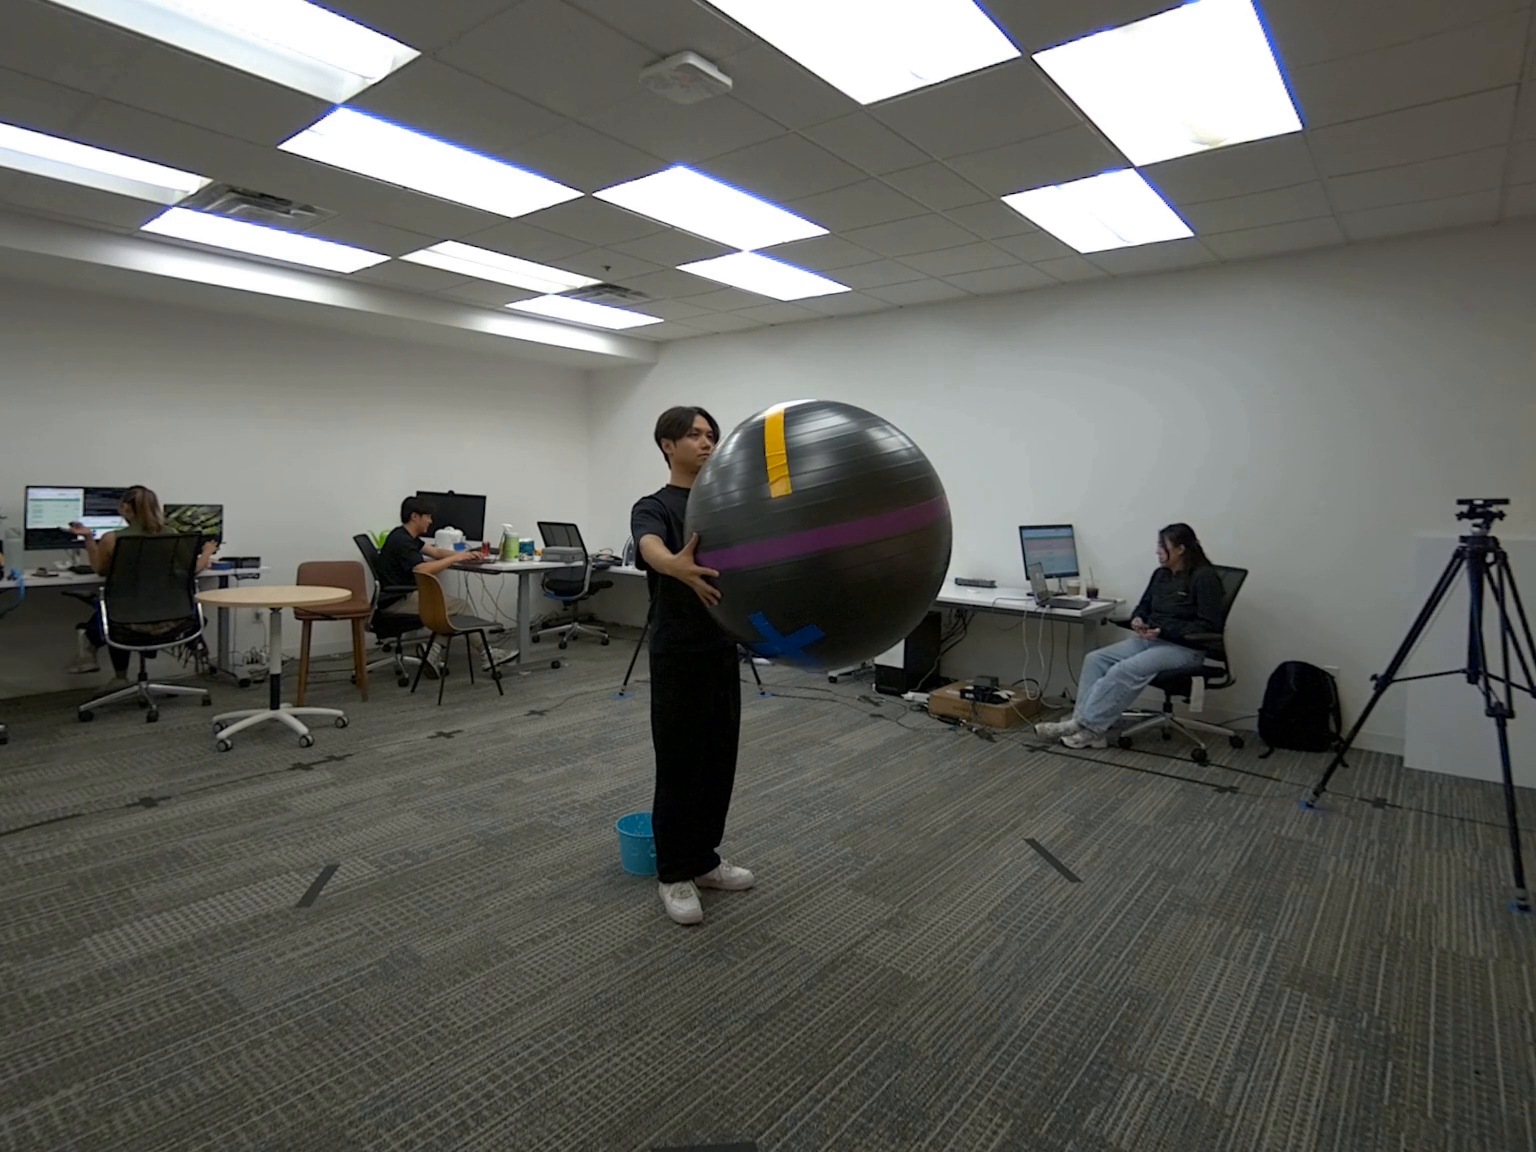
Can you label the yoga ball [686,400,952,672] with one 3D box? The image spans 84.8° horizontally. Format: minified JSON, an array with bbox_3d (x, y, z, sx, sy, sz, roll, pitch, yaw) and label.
[{"bbox_3d":[0.130,-0.114,2.427,0.757,0.756,0.761,1,4,-2],"label":"yoga ball"}]
